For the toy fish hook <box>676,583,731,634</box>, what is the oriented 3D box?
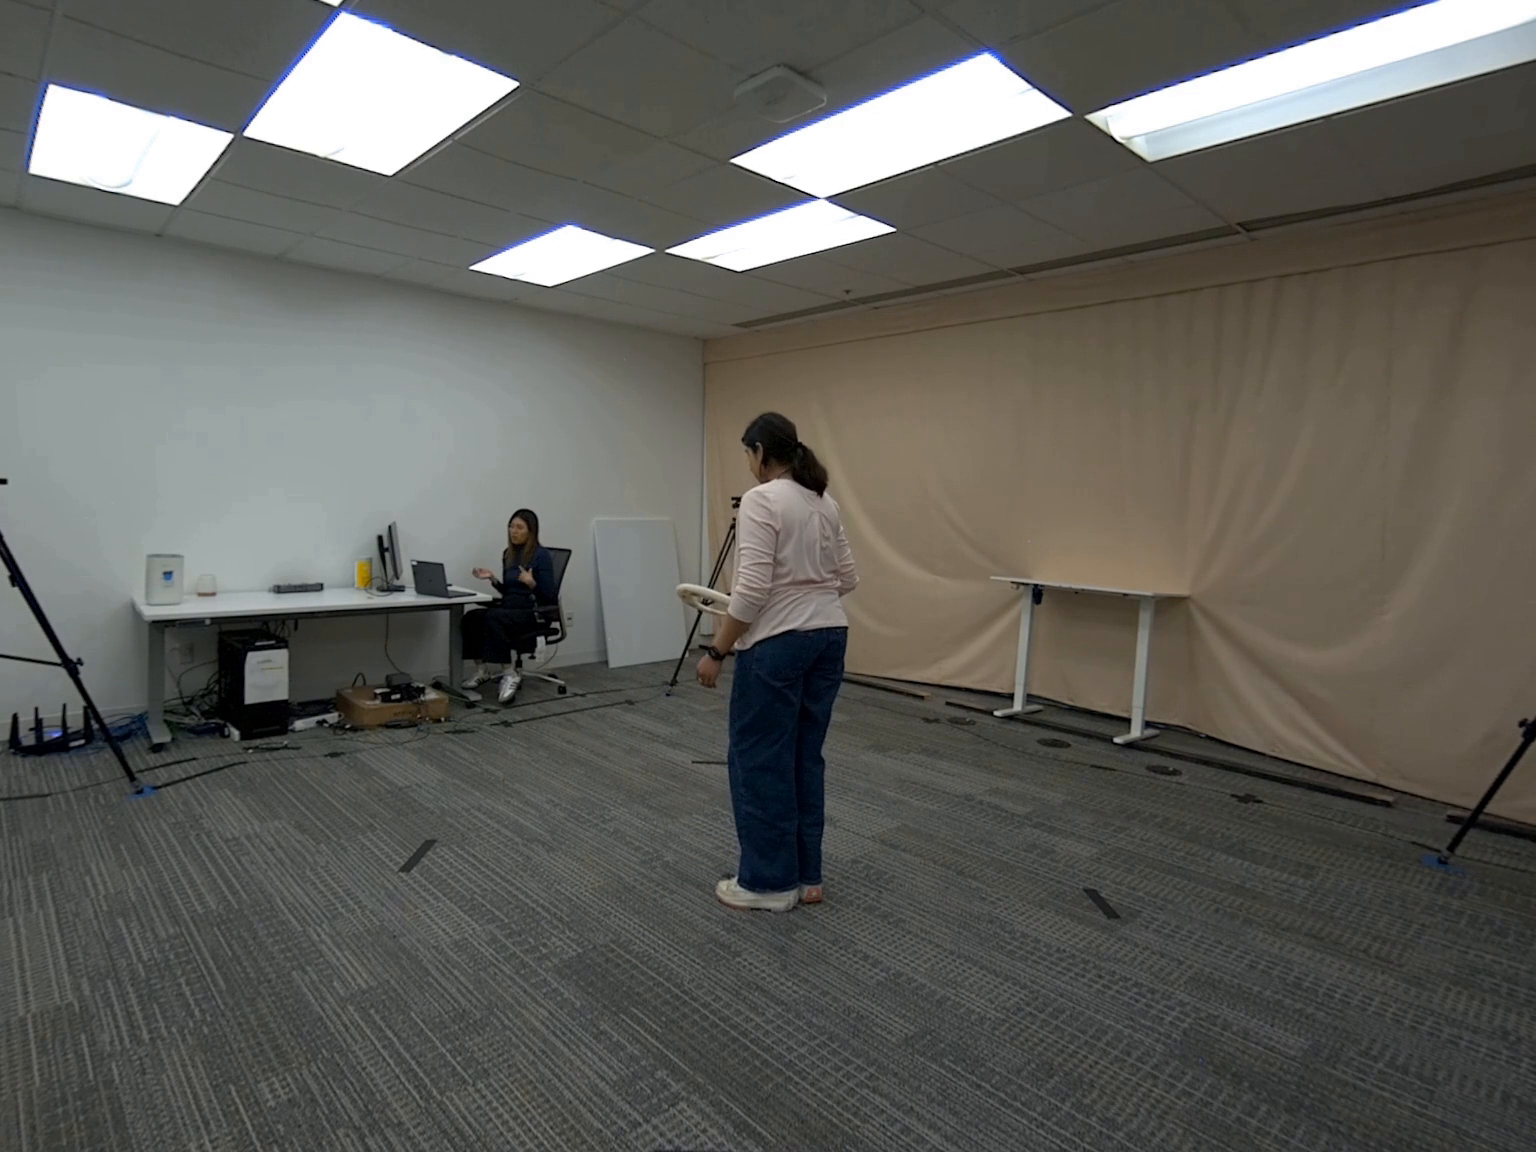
[{"bbox_3d":[-0.138,0.126,3.263,0.516,0.048,0.219,16,-19,19],"label":"toy fish hook"}]
